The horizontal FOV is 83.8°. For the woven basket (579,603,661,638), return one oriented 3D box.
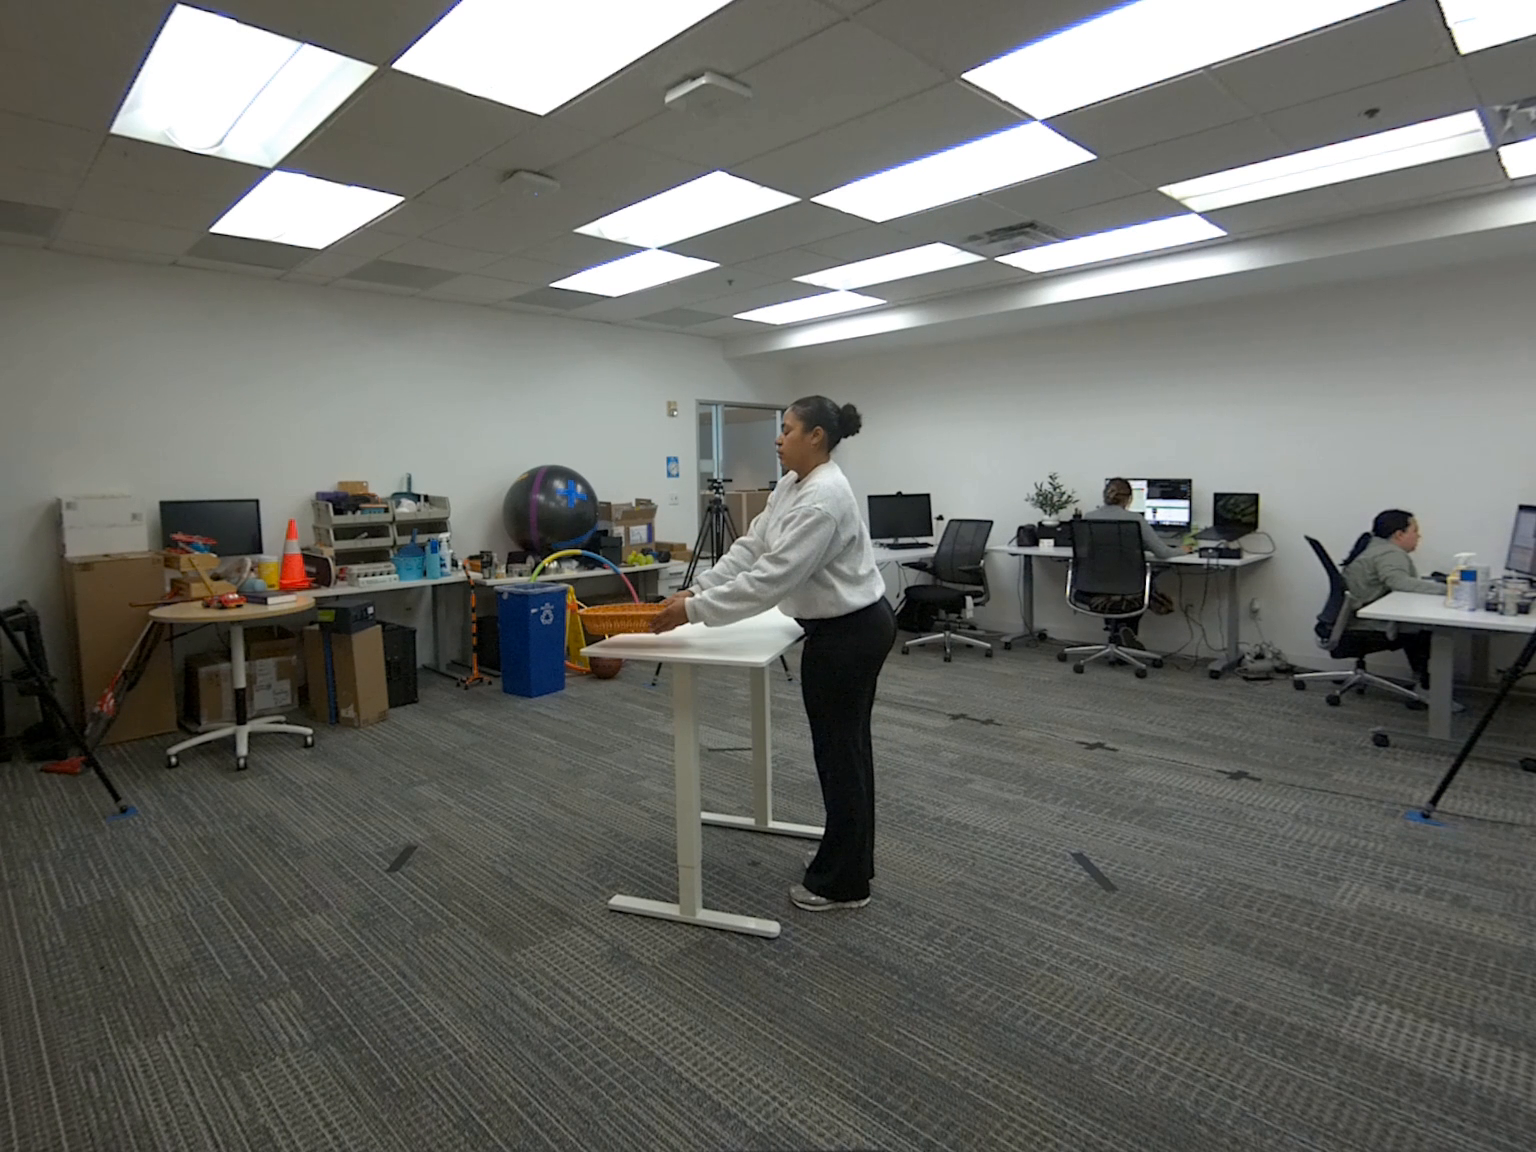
[{"bbox_3d":[-0.419,0.128,2.704,0.354,0.073,0.250,-1,4,11],"label":"woven basket"}]
